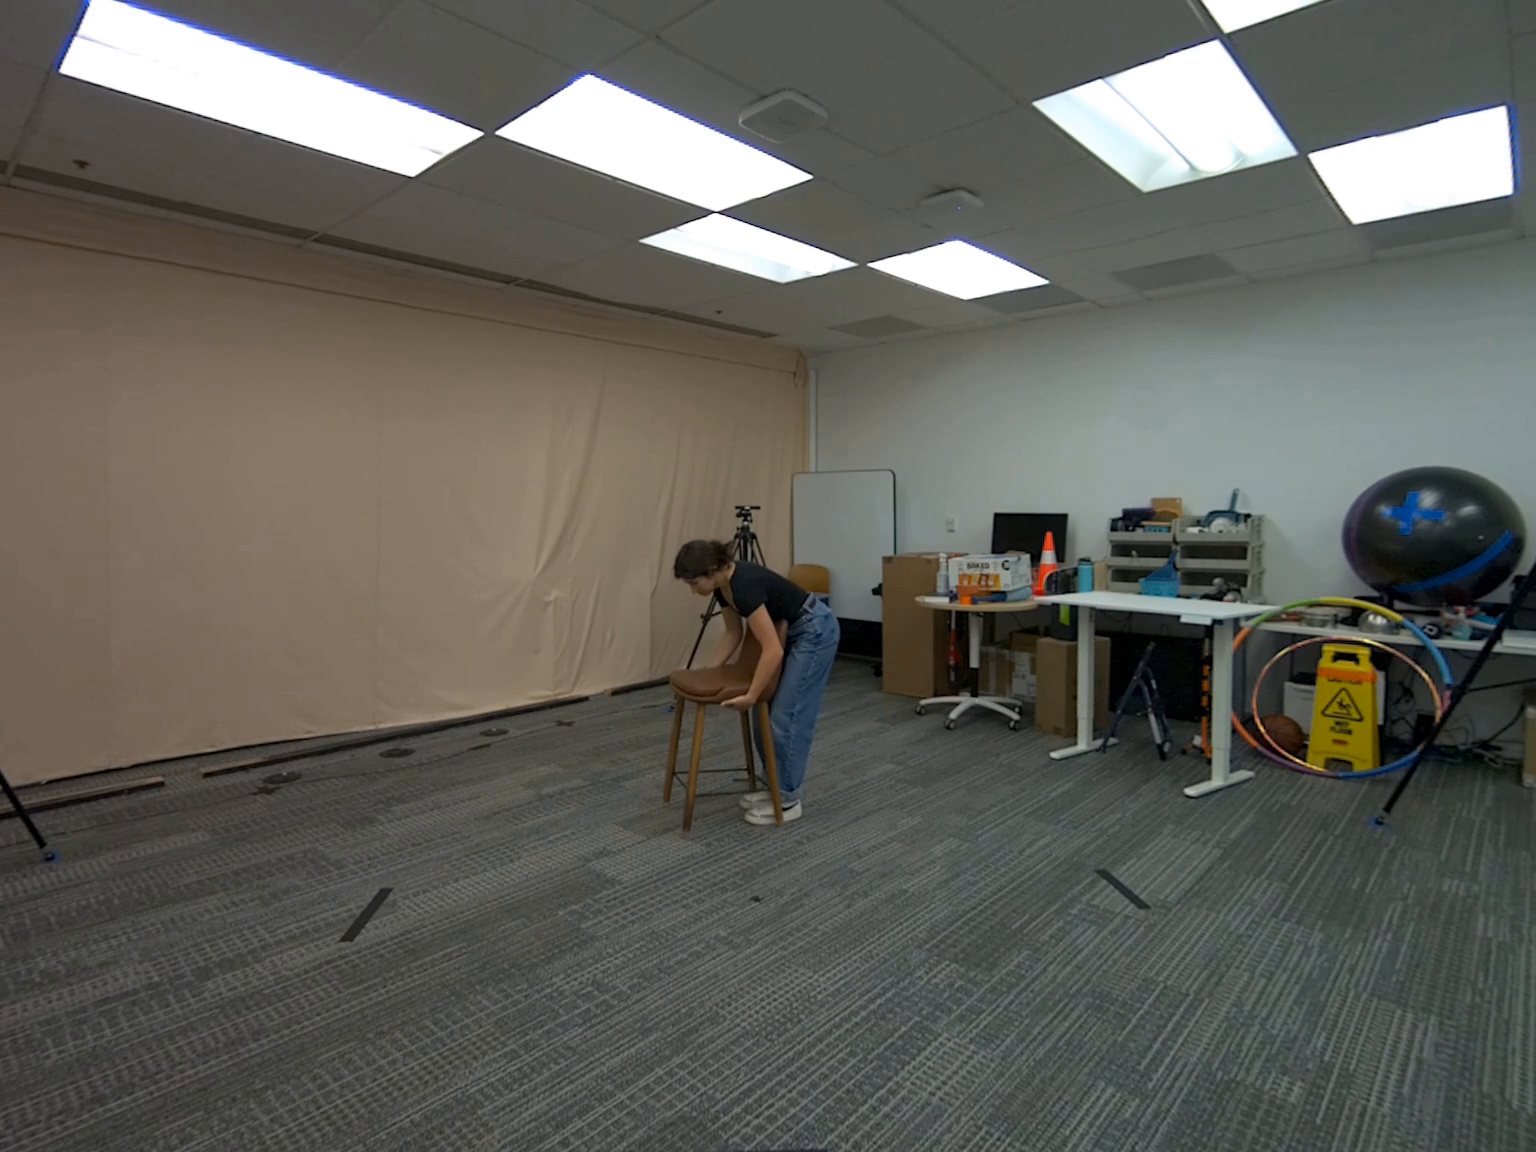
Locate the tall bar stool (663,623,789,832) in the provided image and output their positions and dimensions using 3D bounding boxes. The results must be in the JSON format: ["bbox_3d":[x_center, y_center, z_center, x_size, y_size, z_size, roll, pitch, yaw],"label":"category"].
[{"bbox_3d":[-0.204,0.621,3.751,0.459,0.888,0.466,2,3,-18],"label":"tall bar stool"}]
